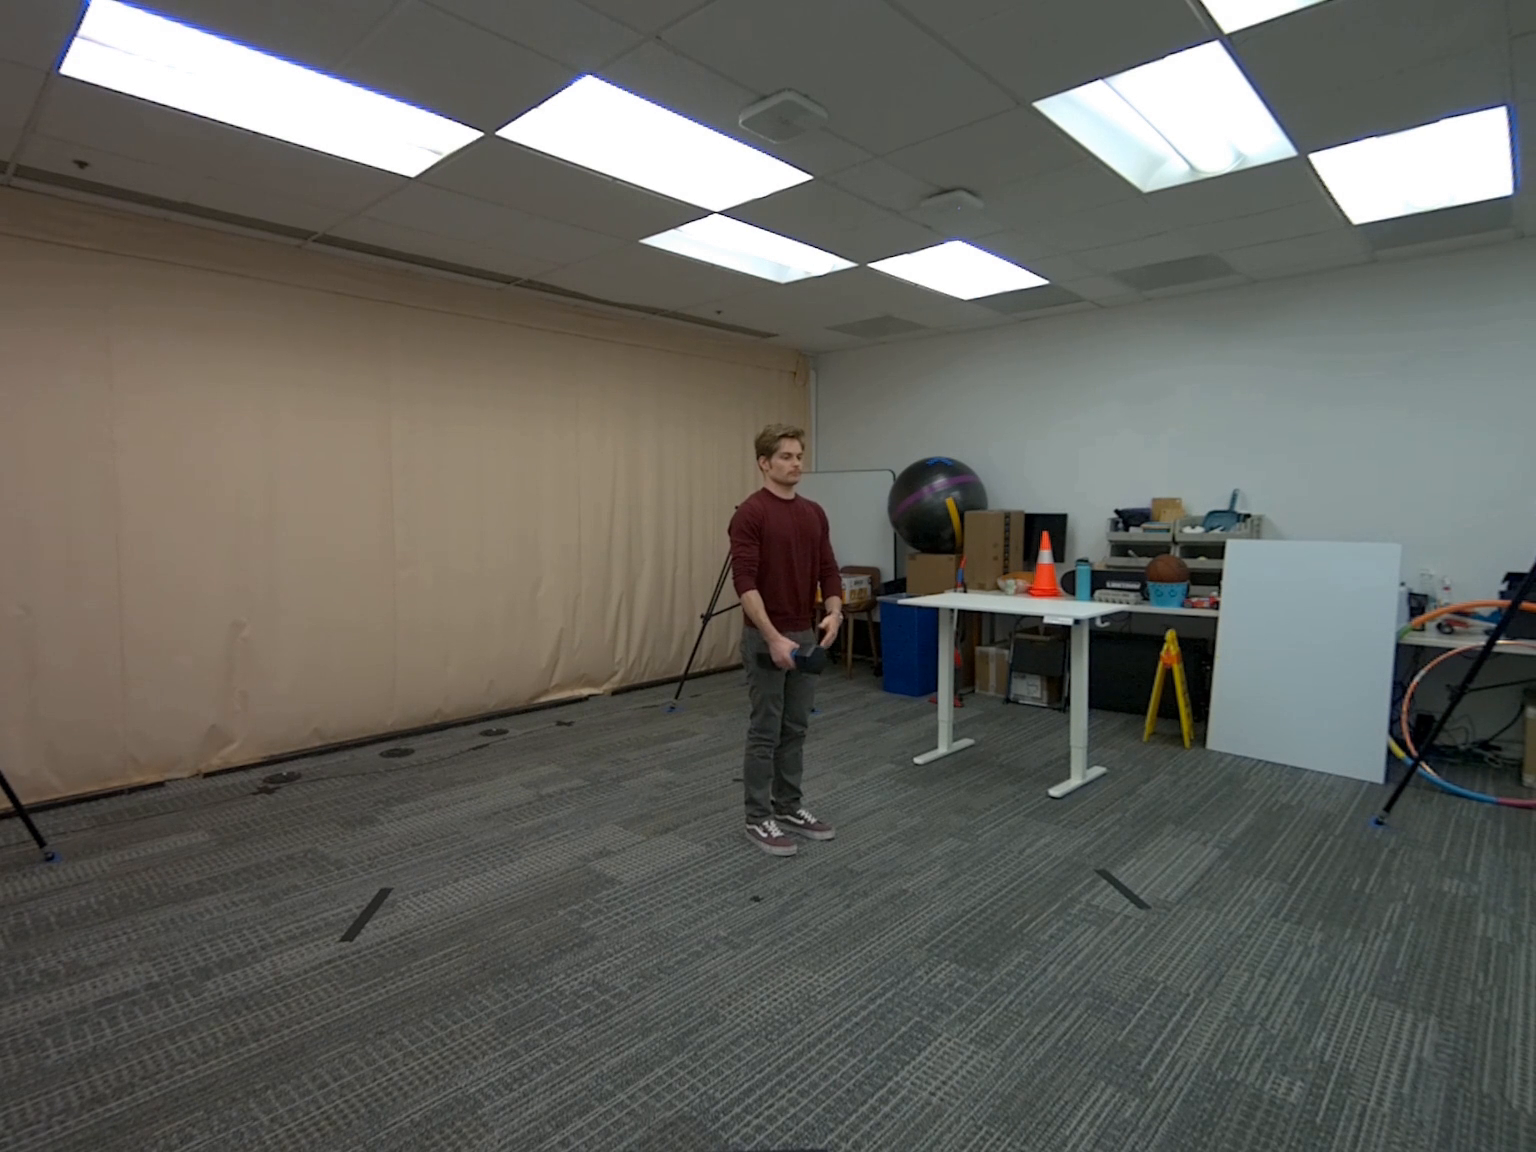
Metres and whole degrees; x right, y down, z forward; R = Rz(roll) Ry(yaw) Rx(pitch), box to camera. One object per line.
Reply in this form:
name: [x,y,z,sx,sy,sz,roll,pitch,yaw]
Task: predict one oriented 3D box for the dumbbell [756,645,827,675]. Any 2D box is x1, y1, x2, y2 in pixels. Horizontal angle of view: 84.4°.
dumbbell: [0.095,0.308,3.208,0.106,0.122,0.302,-17,10,-37]
